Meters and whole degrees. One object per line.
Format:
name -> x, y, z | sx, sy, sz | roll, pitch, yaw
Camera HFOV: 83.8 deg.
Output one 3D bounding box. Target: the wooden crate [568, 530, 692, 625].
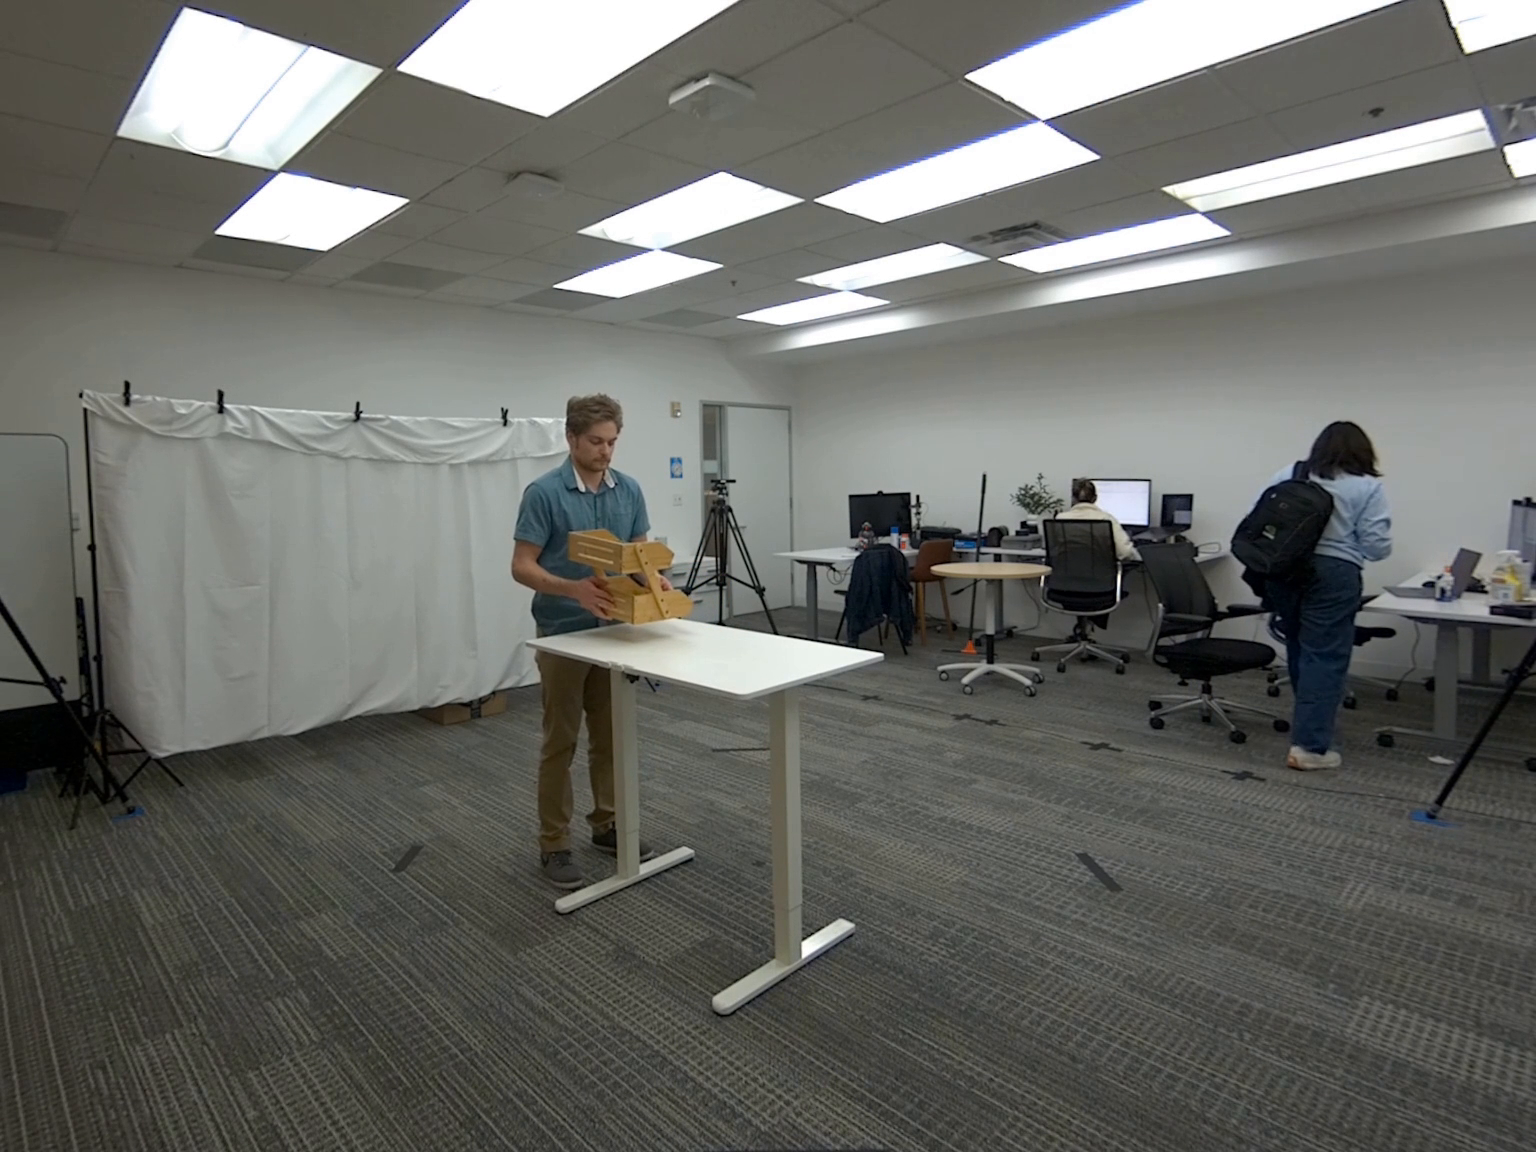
wooden crate -> -0.454, -0.010, 2.833 | 0.335, 0.271, 0.294 | 11, 12, 44
